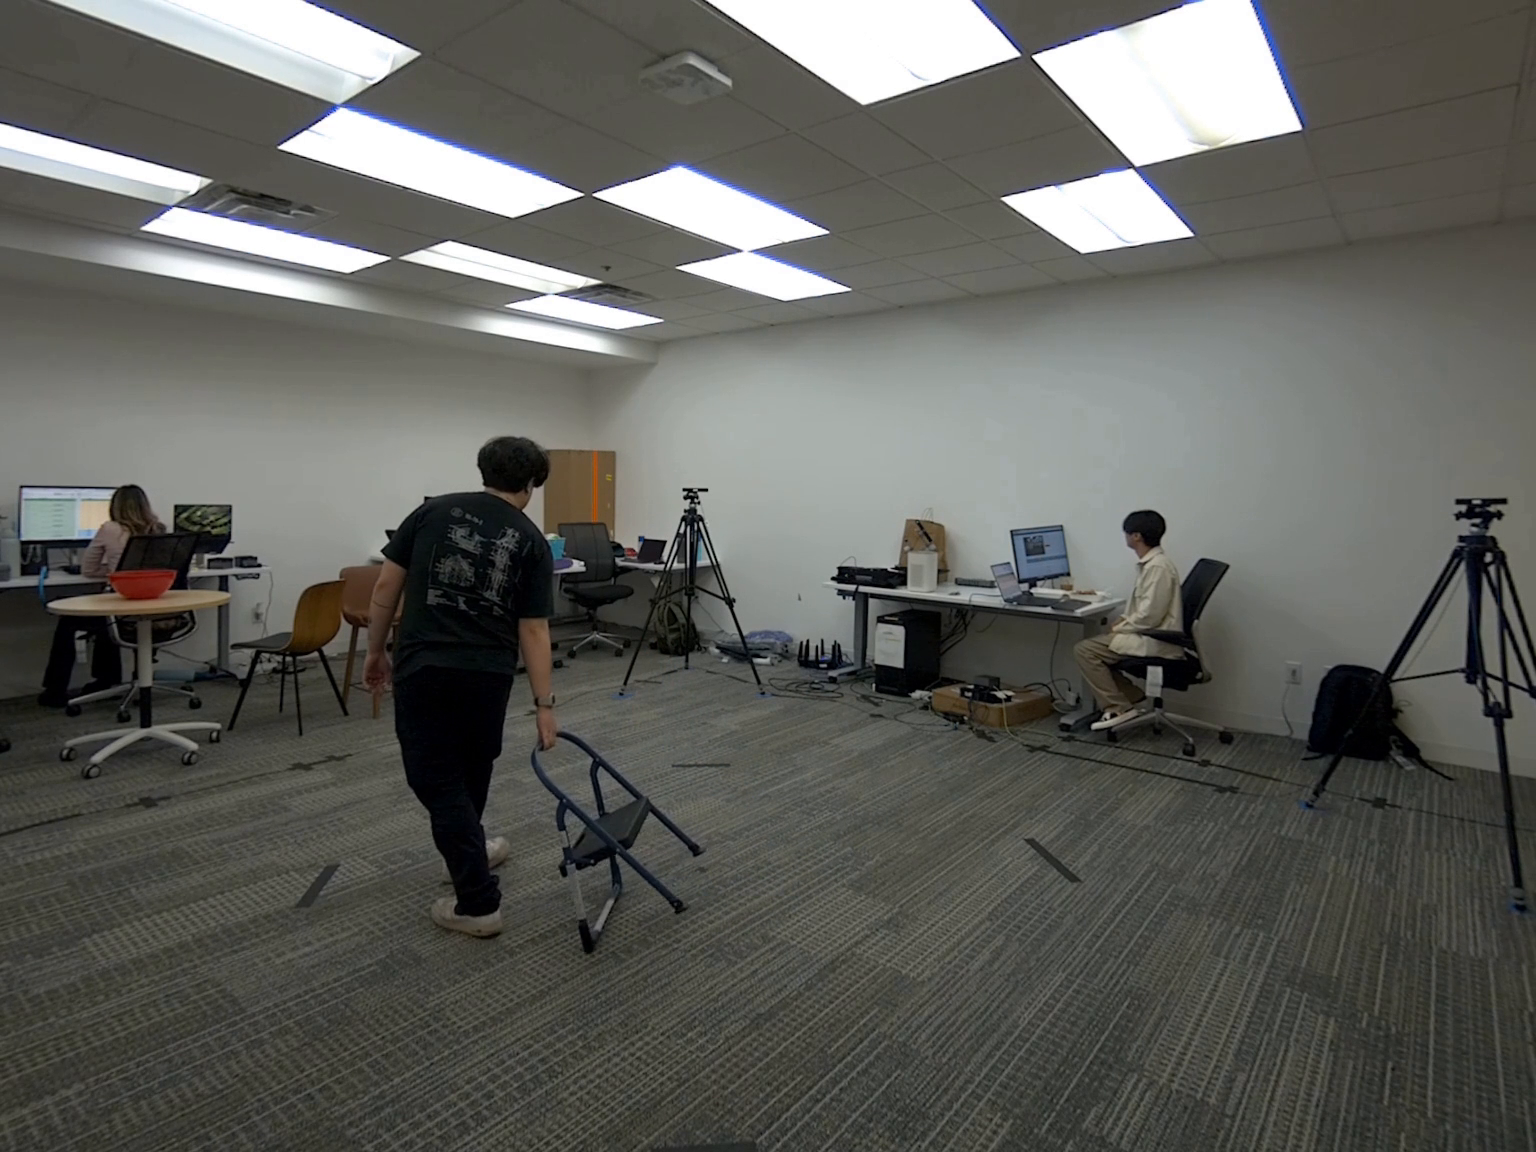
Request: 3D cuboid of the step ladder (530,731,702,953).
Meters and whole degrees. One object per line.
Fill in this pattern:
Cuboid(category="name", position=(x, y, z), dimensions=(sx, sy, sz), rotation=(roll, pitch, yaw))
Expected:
Cuboid(category="step ladder", position=(-0.522, 0.767, 2.712), dimensions=(0.350, 0.607, 0.429), rotation=(-26, 0, 5))
